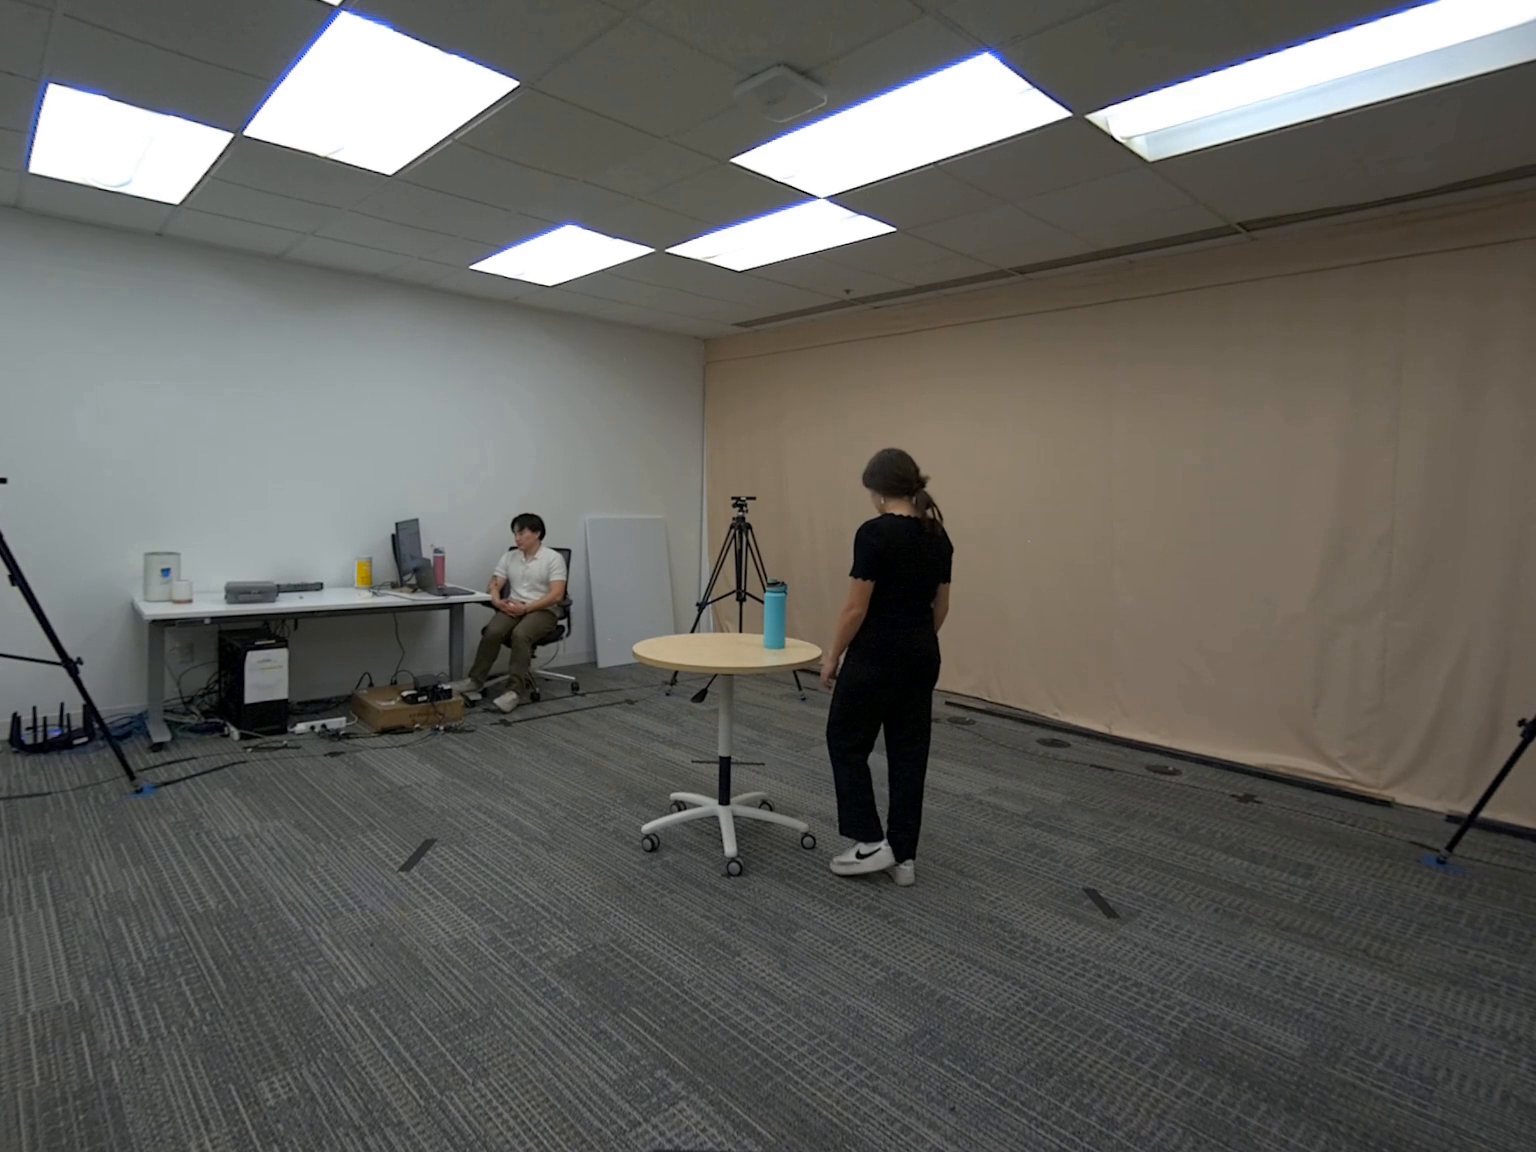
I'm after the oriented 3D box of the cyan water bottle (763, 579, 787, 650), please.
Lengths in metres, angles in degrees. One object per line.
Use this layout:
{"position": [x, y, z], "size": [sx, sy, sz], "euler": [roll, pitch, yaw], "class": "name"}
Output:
{"position": [0.025, 0.152, 3.451], "size": [0.092, 0.282, 0.093], "euler": [4, 5, -2], "class": "cyan water bottle"}
